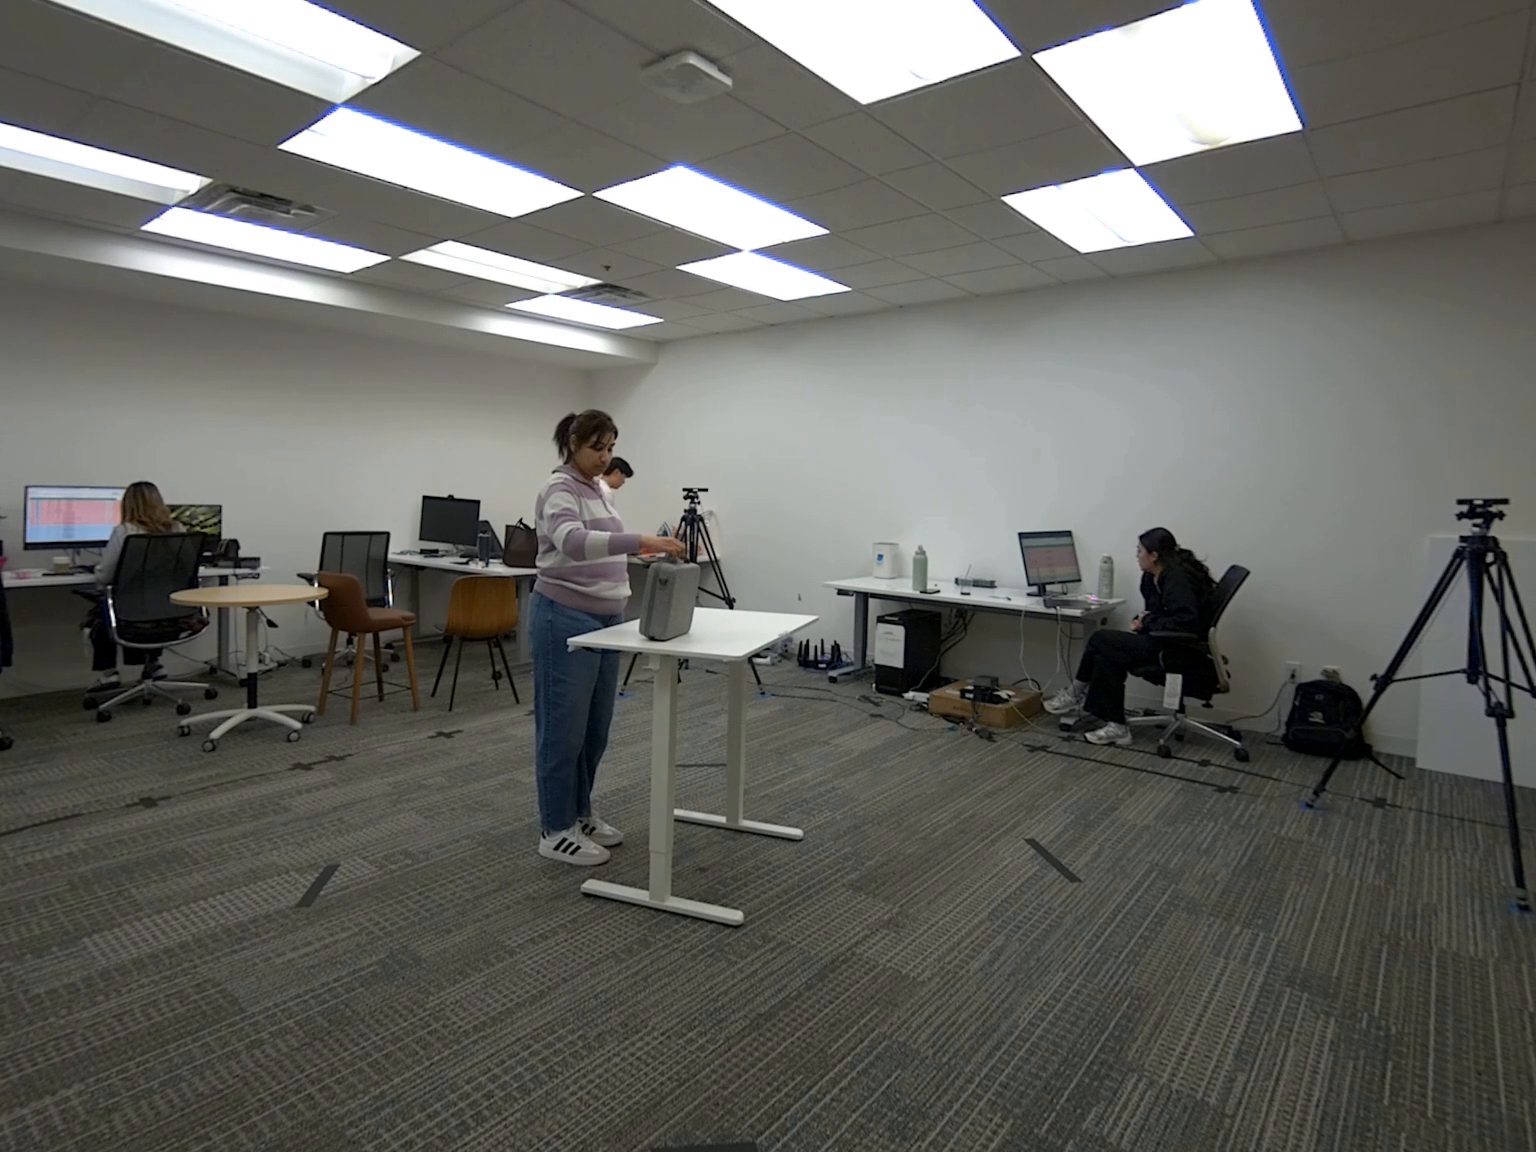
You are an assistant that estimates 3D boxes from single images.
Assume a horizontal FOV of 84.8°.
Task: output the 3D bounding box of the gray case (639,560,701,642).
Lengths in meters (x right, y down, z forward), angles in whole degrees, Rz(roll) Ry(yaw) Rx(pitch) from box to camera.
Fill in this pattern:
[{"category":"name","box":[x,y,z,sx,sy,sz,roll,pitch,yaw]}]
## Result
[{"category":"gray case","box":[-0.337,0.071,2.884,0.106,0.259,0.253,9,5,14]}]
